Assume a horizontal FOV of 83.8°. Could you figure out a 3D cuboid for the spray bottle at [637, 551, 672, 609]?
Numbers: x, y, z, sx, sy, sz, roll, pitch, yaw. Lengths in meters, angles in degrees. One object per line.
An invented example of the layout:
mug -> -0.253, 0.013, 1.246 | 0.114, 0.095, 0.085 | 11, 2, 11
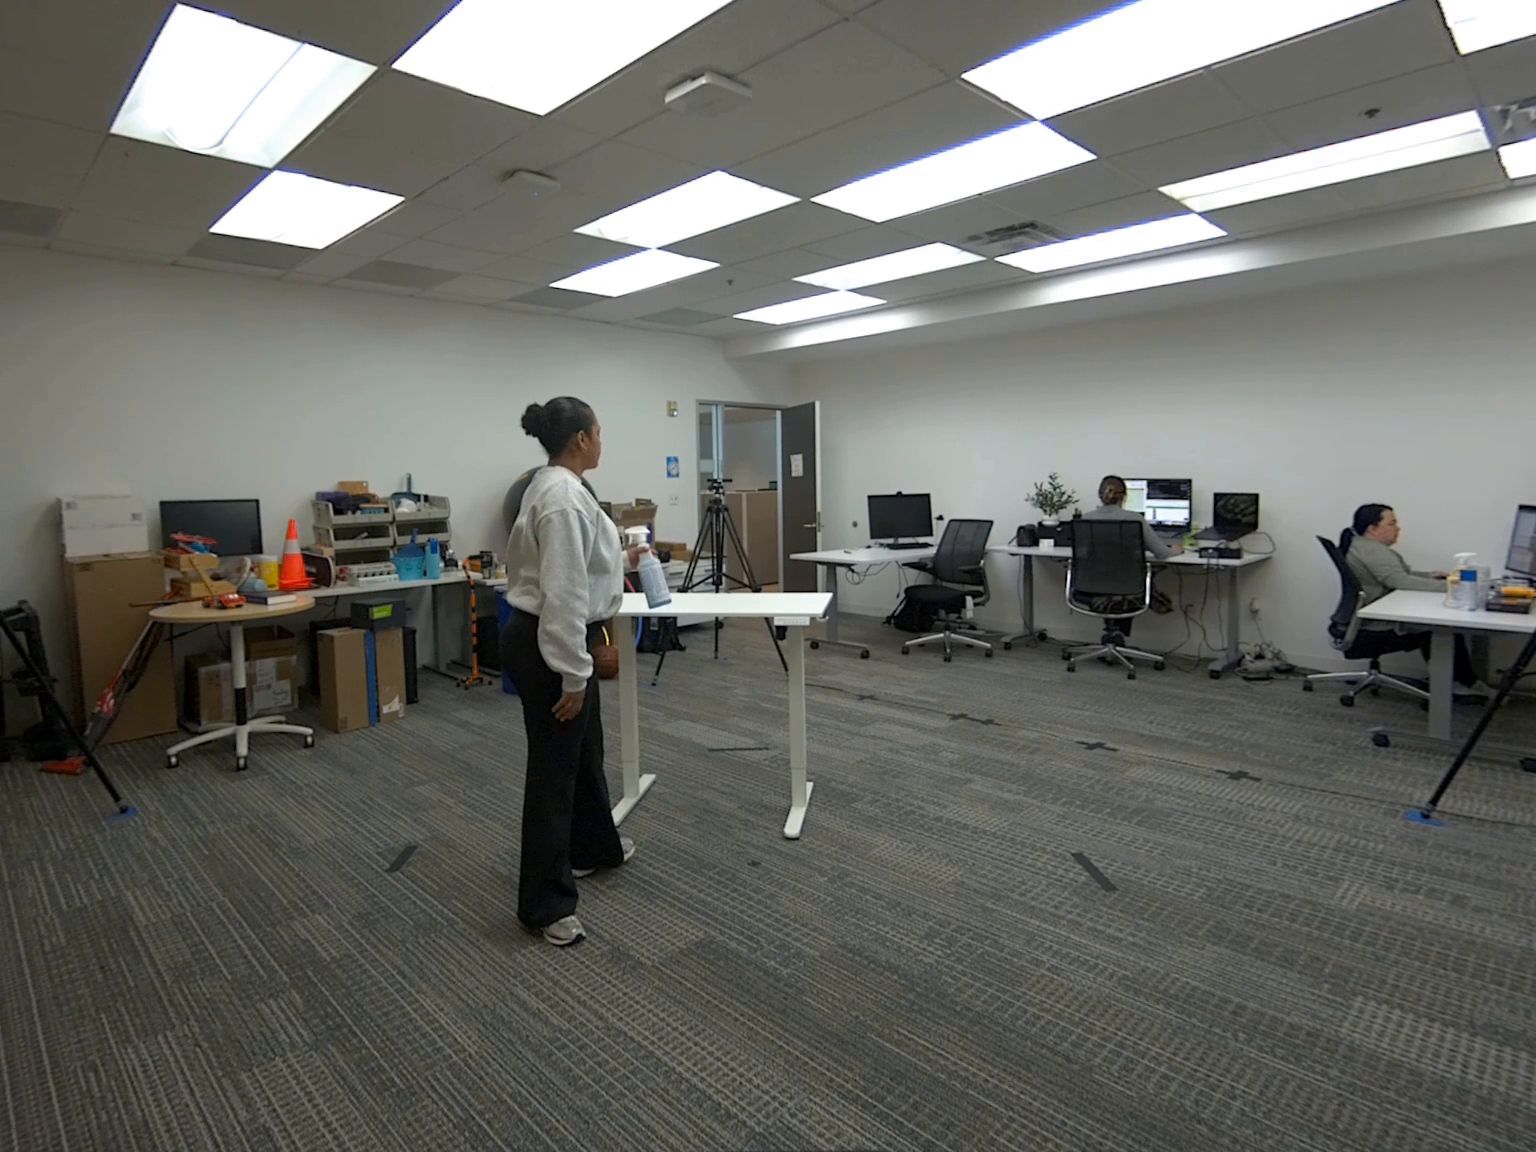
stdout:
spray bottle -> -0.429, -0.015, 3.049 | 0.090, 0.298, 0.087 | -17, -2, -3
